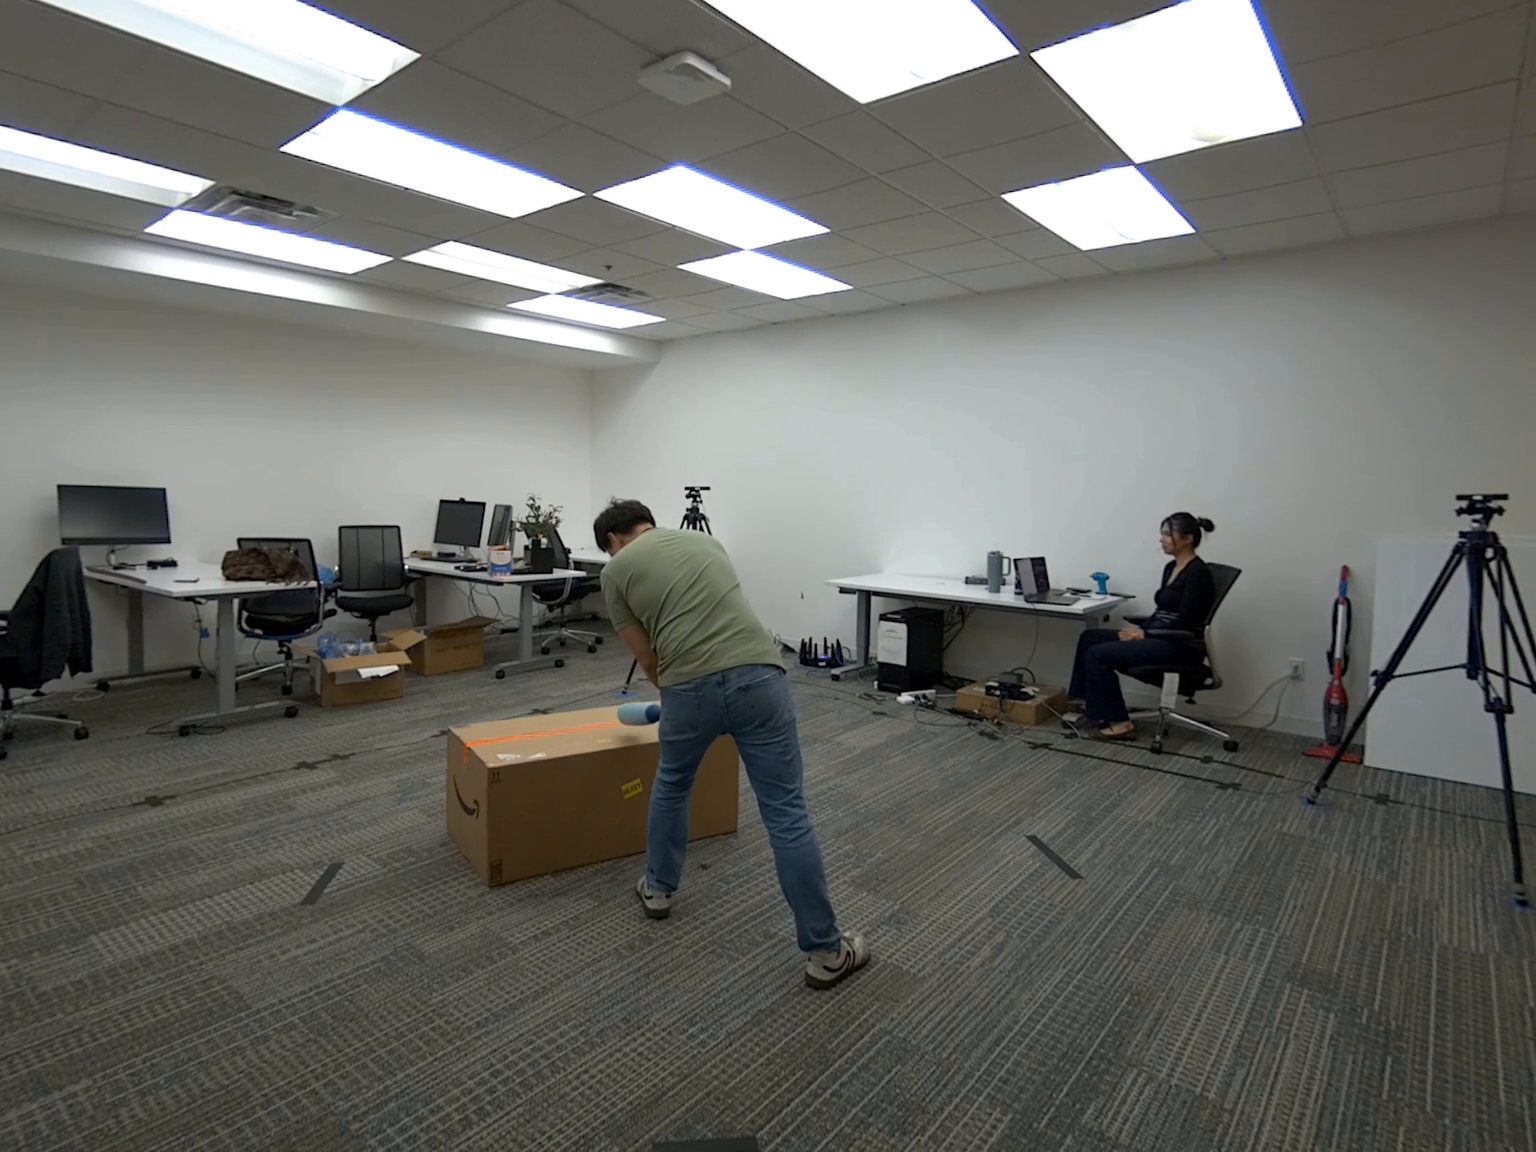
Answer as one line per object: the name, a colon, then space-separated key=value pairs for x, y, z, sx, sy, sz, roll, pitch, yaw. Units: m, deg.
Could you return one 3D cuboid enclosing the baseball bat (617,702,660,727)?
baseball bat: x=-0.430 y=0.492 z=3.106 sx=0.087 sy=0.090 sz=0.553 roll=-1 pitch=-7 yaw=-30
